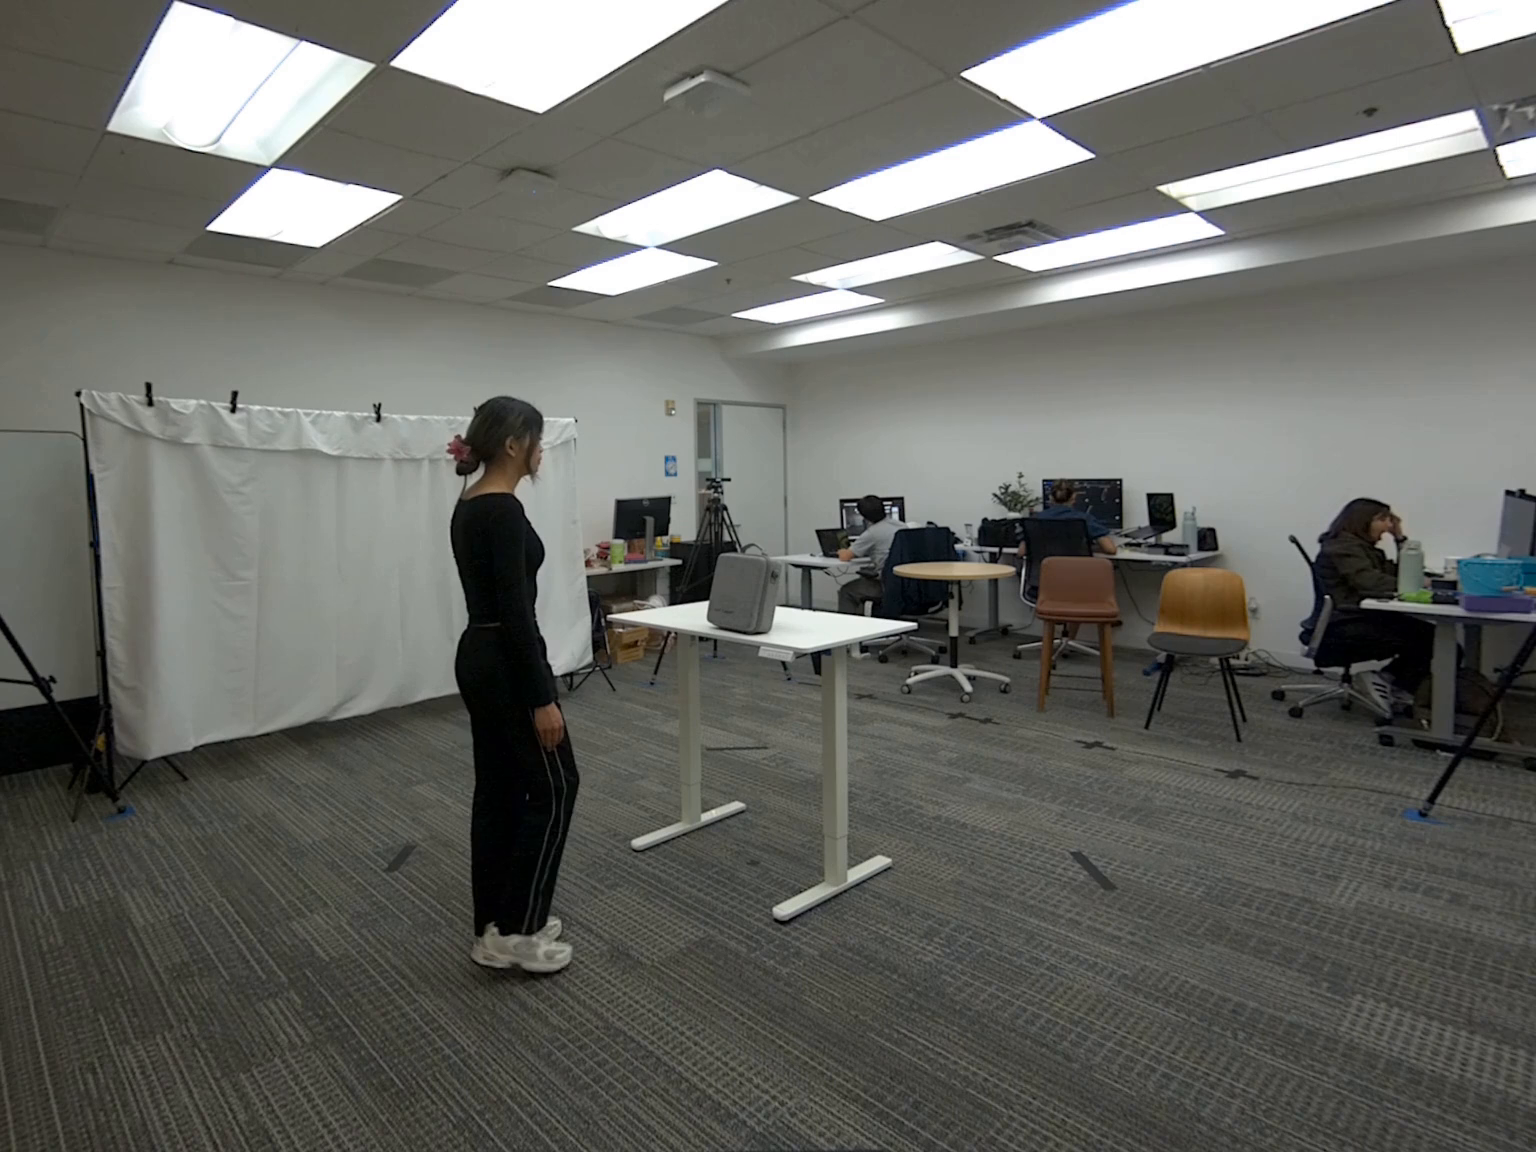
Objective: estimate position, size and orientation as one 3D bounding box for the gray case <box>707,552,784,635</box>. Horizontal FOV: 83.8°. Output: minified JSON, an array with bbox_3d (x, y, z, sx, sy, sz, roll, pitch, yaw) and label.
[{"bbox_3d":[-0.078,0.052,2.887,0.101,0.261,0.265,13,-4,-38],"label":"gray case"}]
